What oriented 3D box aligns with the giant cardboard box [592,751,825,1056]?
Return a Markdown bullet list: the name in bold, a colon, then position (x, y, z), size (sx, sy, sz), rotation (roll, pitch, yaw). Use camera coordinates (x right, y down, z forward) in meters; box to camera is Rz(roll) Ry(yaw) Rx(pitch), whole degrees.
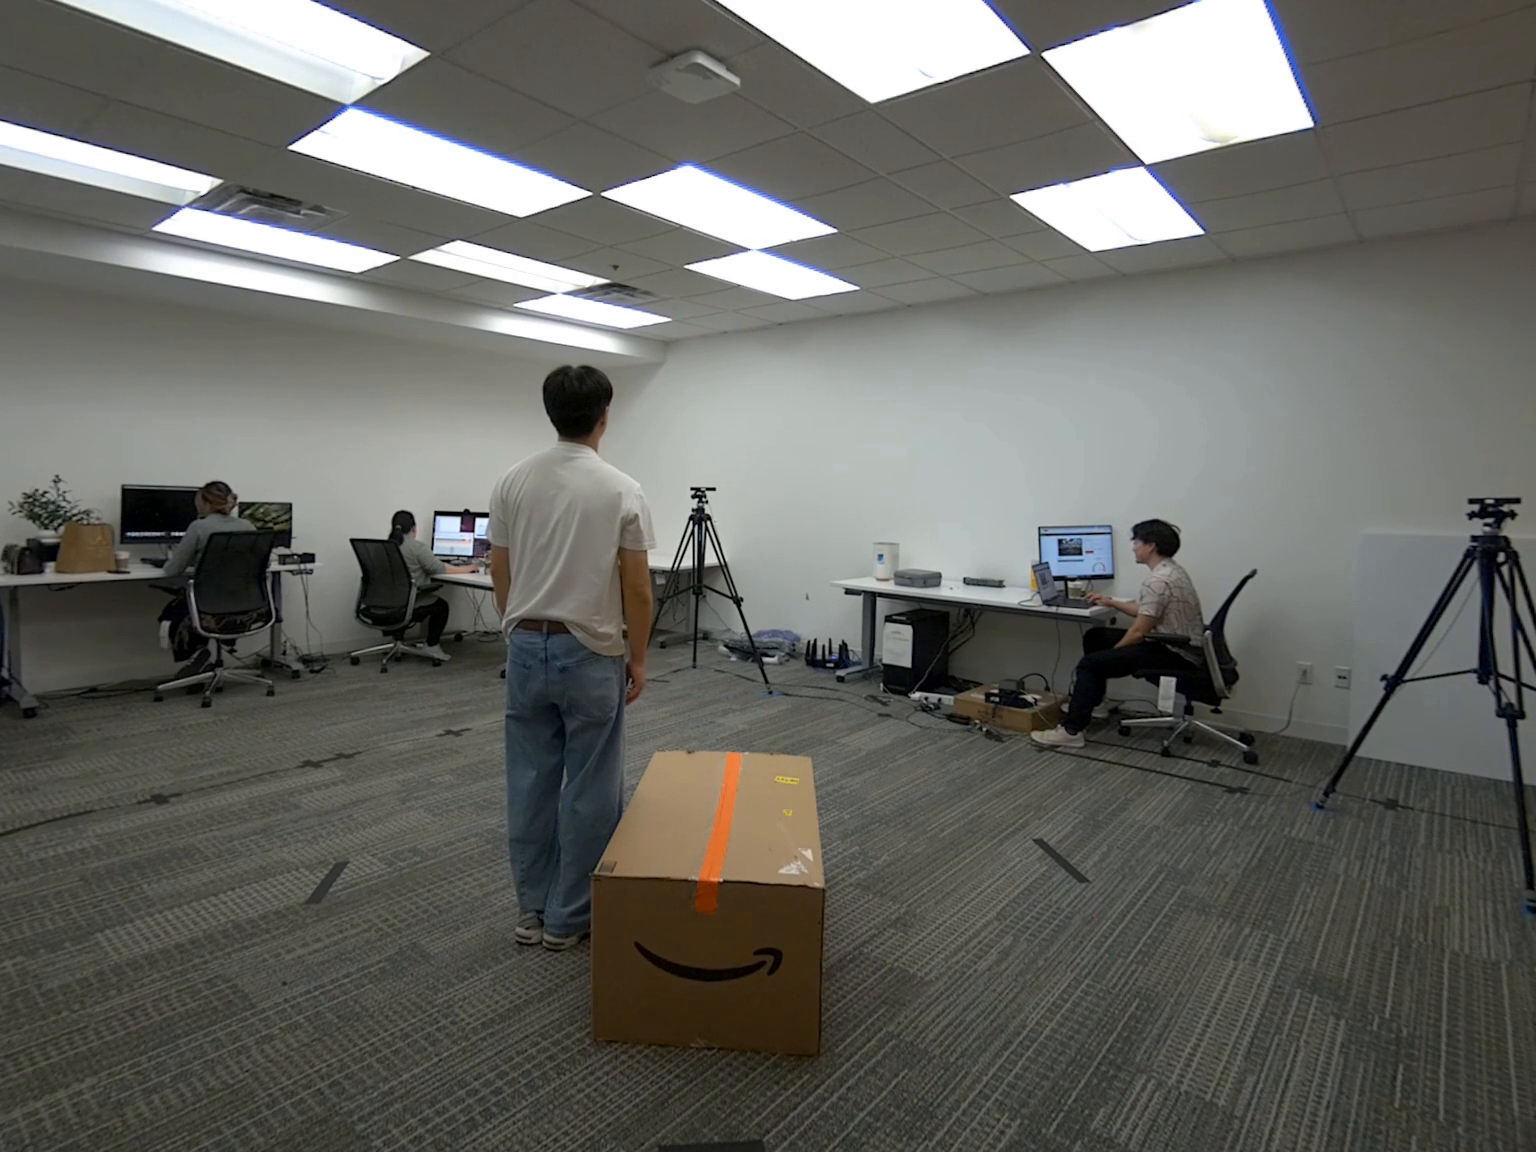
- **giant cardboard box**: position (-0.149, 0.901, 2.595), size (0.579, 0.425, 1.027), rotation (2, 5, 1)
